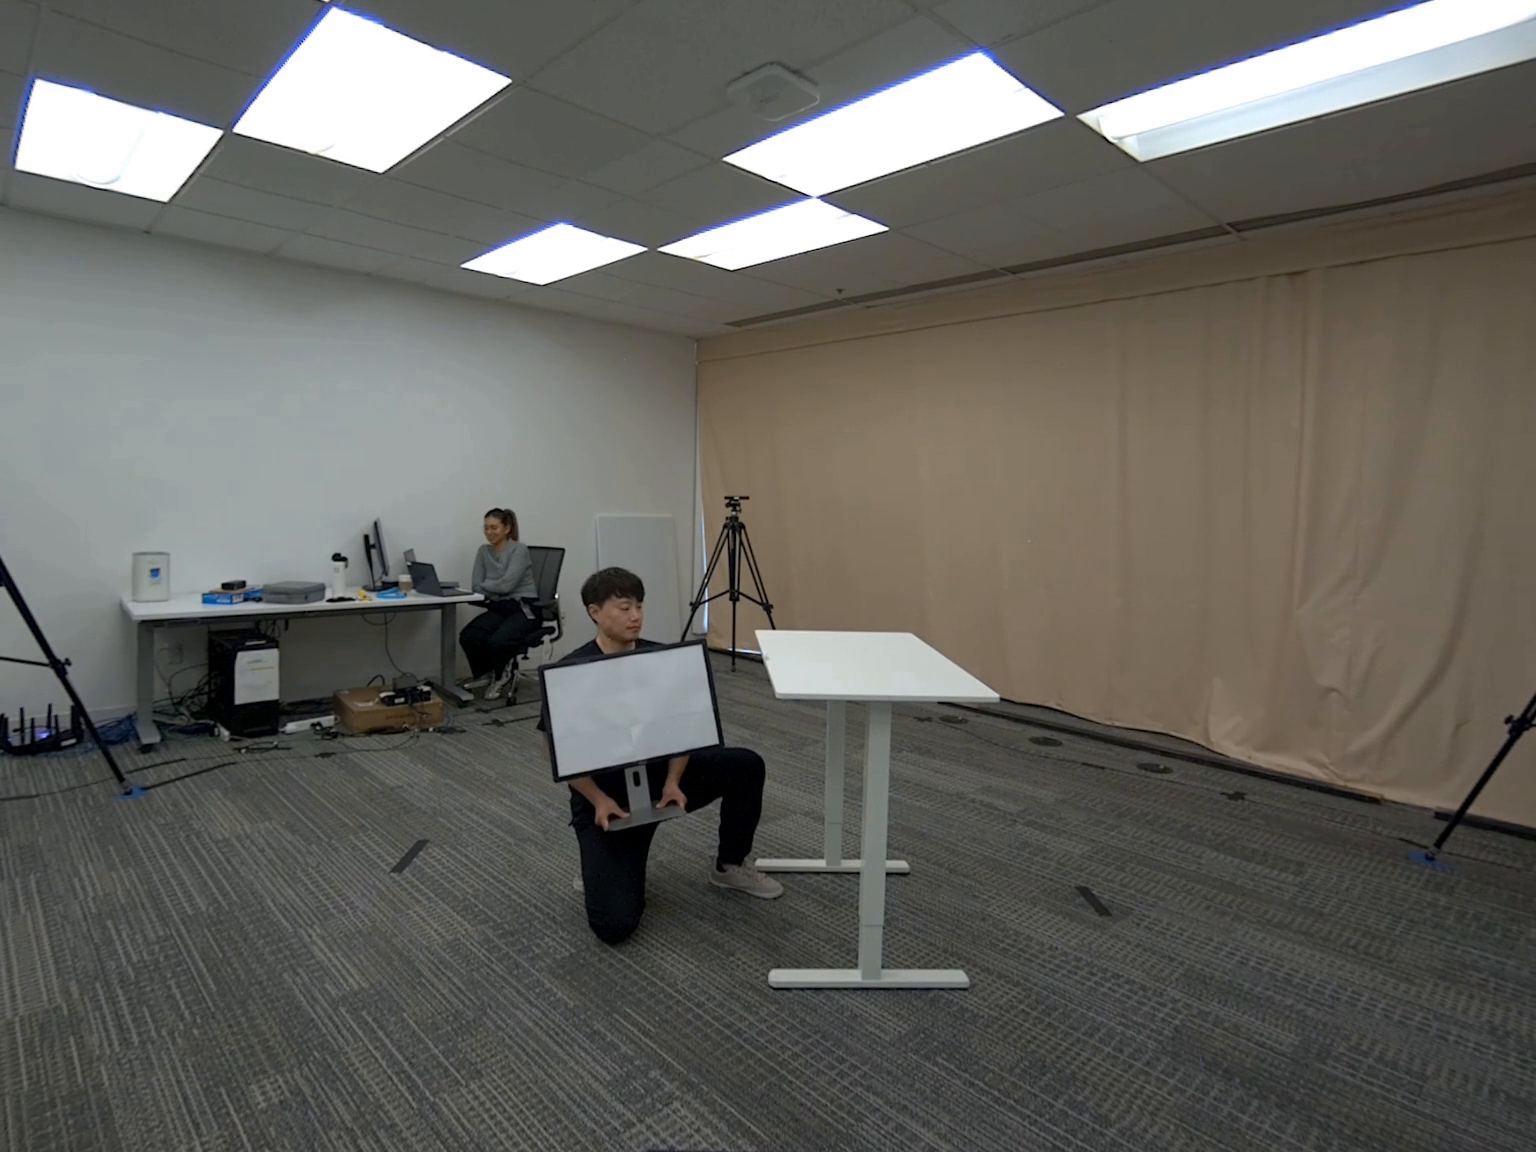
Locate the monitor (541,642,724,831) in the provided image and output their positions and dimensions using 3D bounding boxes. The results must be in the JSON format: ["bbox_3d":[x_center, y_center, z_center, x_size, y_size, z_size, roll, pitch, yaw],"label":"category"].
[{"bbox_3d":[-0.456,0.515,2.730,0.531,0.522,0.190,-8,1,-23],"label":"monitor"}]
